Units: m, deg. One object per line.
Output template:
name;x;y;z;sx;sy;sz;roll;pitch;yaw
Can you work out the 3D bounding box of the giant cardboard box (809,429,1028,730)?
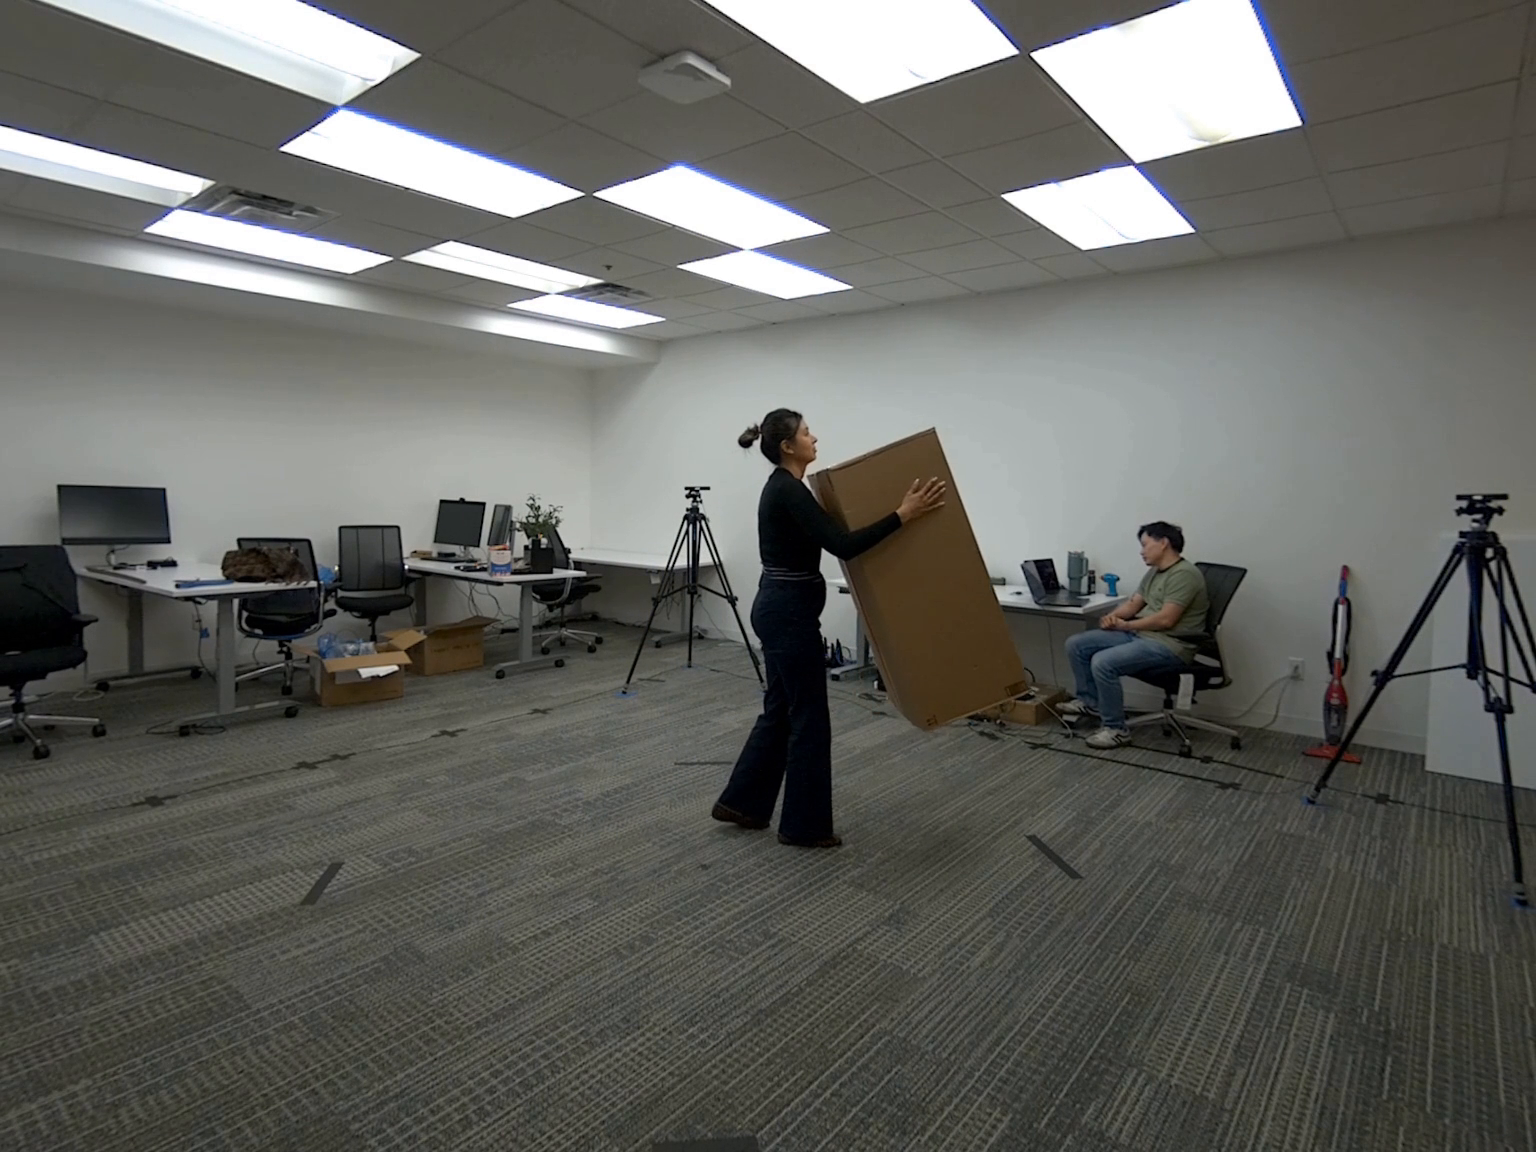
giant cardboard box;0.556;-0.003;3.344;0.426;1.023;0.580;-20;3;-2
